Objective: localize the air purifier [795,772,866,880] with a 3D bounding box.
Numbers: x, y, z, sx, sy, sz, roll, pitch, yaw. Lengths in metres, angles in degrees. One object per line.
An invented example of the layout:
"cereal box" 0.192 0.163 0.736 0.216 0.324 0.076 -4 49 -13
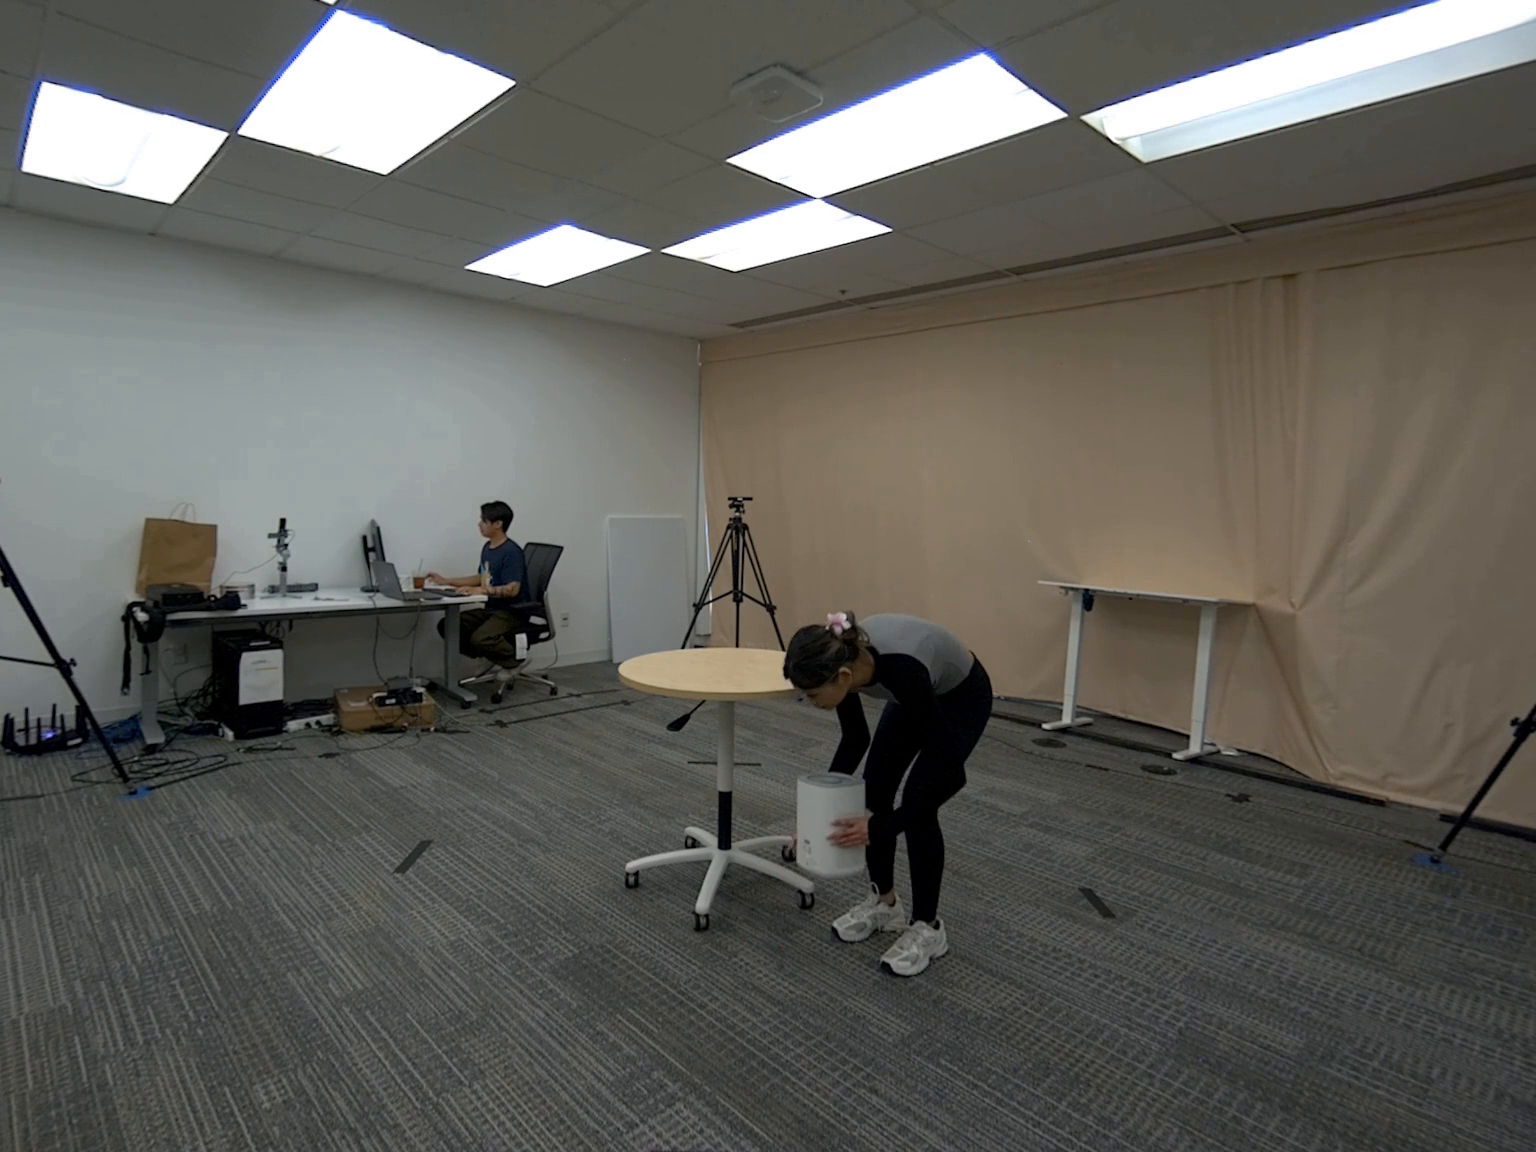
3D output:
"air purifier" 0.179 0.721 2.449 0.168 0.266 0.174 2 -4 -35
